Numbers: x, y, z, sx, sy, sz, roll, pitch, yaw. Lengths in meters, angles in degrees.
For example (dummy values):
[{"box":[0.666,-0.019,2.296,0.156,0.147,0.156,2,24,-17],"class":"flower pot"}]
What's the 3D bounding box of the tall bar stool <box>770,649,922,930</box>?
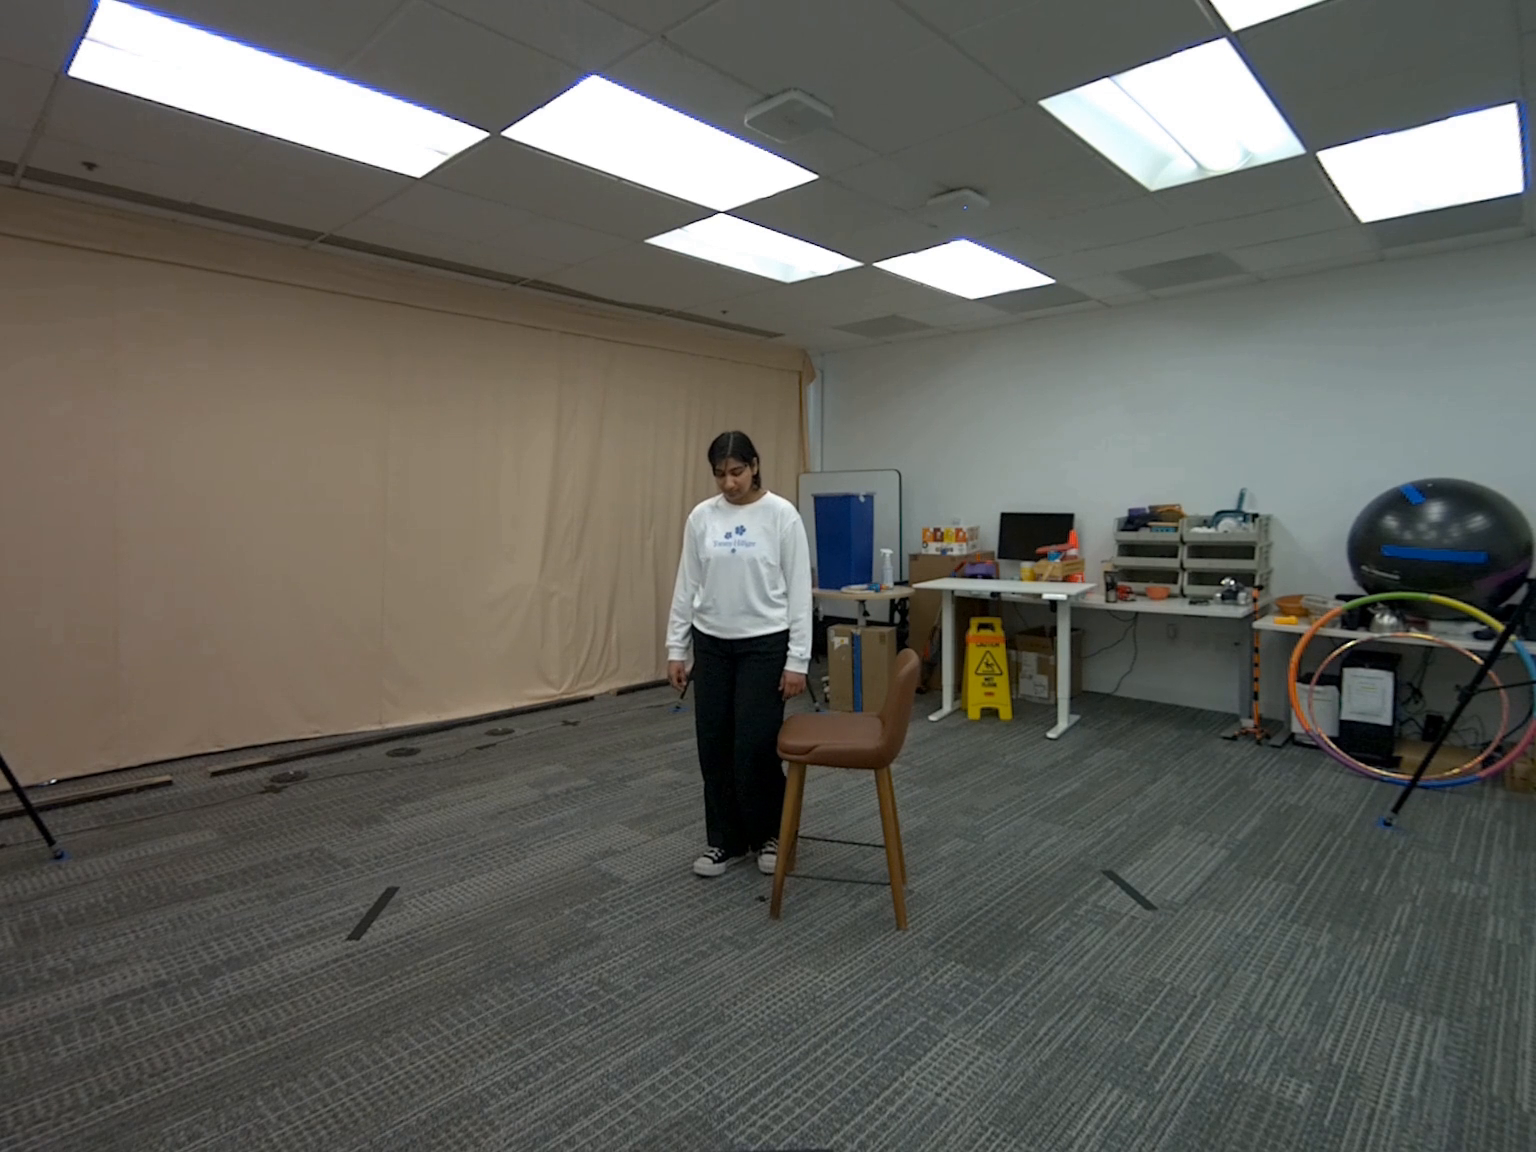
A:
[{"box":[0.274,0.708,2.959,0.474,0.888,0.451,2,4,12],"class":"tall bar stool"}]
